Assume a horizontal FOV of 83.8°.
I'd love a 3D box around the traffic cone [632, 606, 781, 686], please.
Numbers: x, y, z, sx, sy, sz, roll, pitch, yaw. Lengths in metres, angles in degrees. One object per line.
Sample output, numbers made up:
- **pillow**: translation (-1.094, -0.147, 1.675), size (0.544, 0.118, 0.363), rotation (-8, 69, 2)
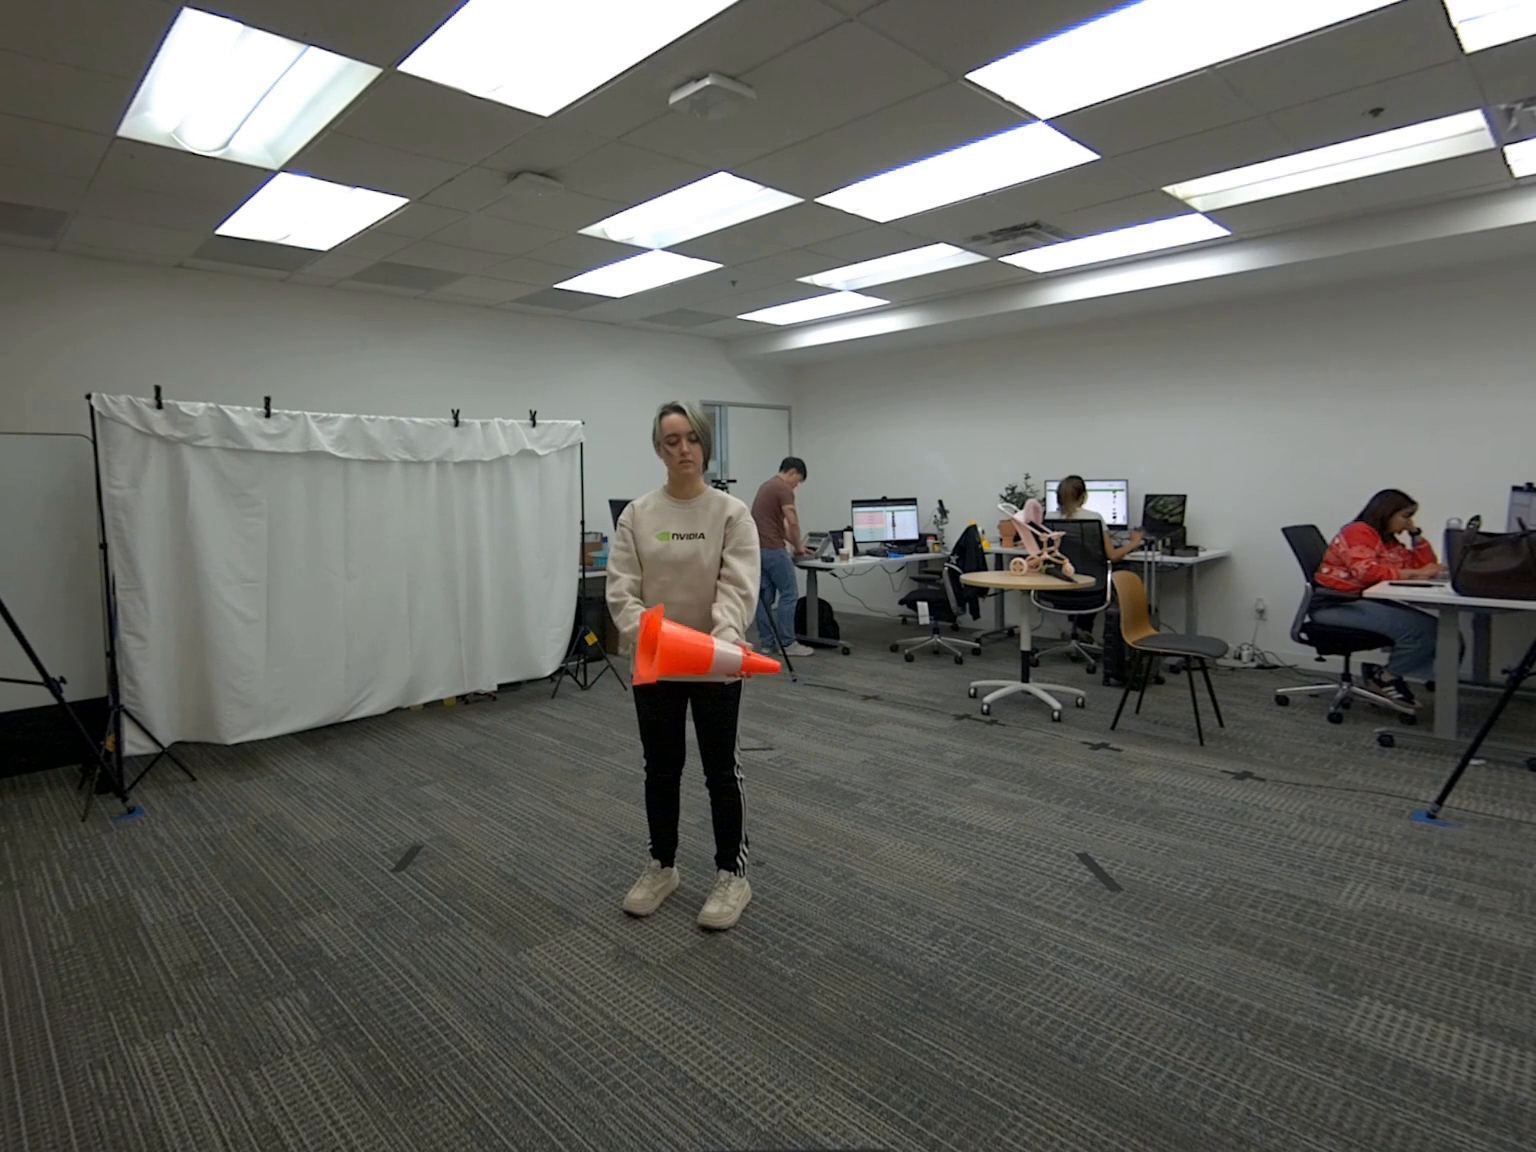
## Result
- **traffic cone**: translation (-0.142, 0.217, 2.291), size (0.375, 0.206, 0.207), rotation (13, -15, -22)
